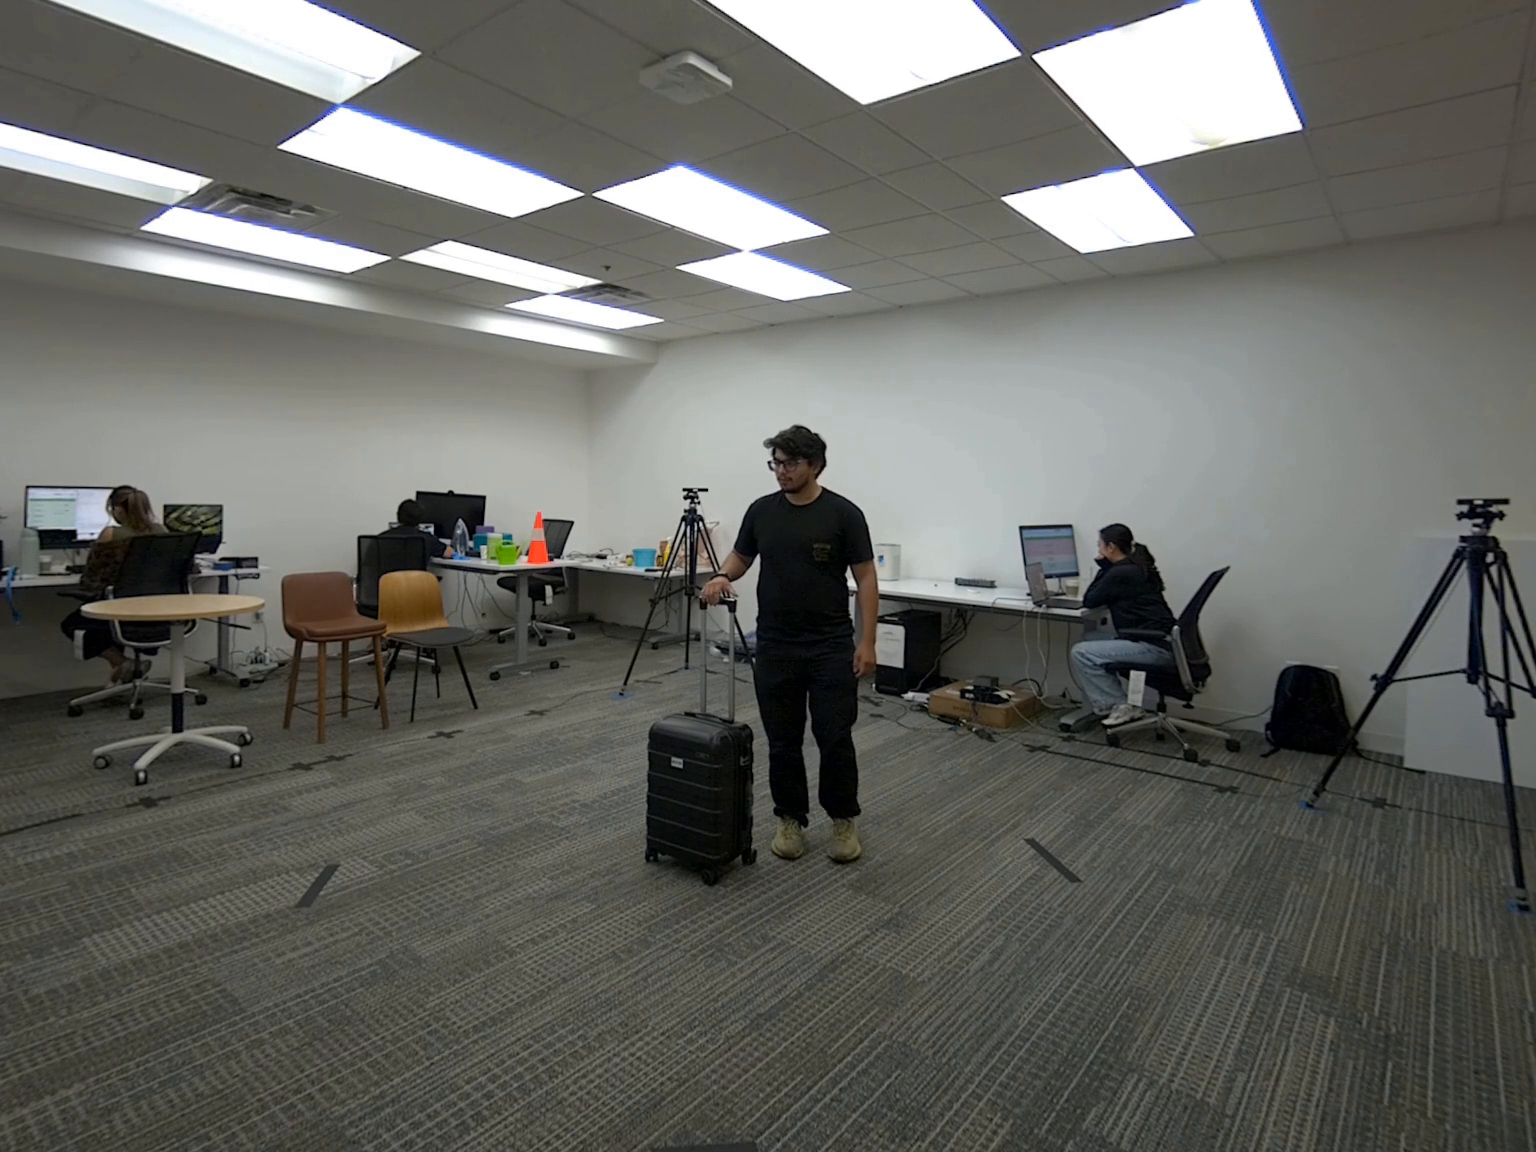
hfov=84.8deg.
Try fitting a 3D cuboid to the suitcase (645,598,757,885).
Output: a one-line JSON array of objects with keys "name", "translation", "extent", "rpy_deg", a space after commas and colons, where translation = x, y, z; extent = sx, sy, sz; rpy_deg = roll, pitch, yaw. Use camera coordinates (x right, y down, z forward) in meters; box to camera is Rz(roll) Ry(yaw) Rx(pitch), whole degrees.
[{"name": "suitcase", "translation": [-0.262, 0.592, 3.124], "extent": [0.396, 0.974, 0.250], "rpy_deg": [4, 6, 36]}]
